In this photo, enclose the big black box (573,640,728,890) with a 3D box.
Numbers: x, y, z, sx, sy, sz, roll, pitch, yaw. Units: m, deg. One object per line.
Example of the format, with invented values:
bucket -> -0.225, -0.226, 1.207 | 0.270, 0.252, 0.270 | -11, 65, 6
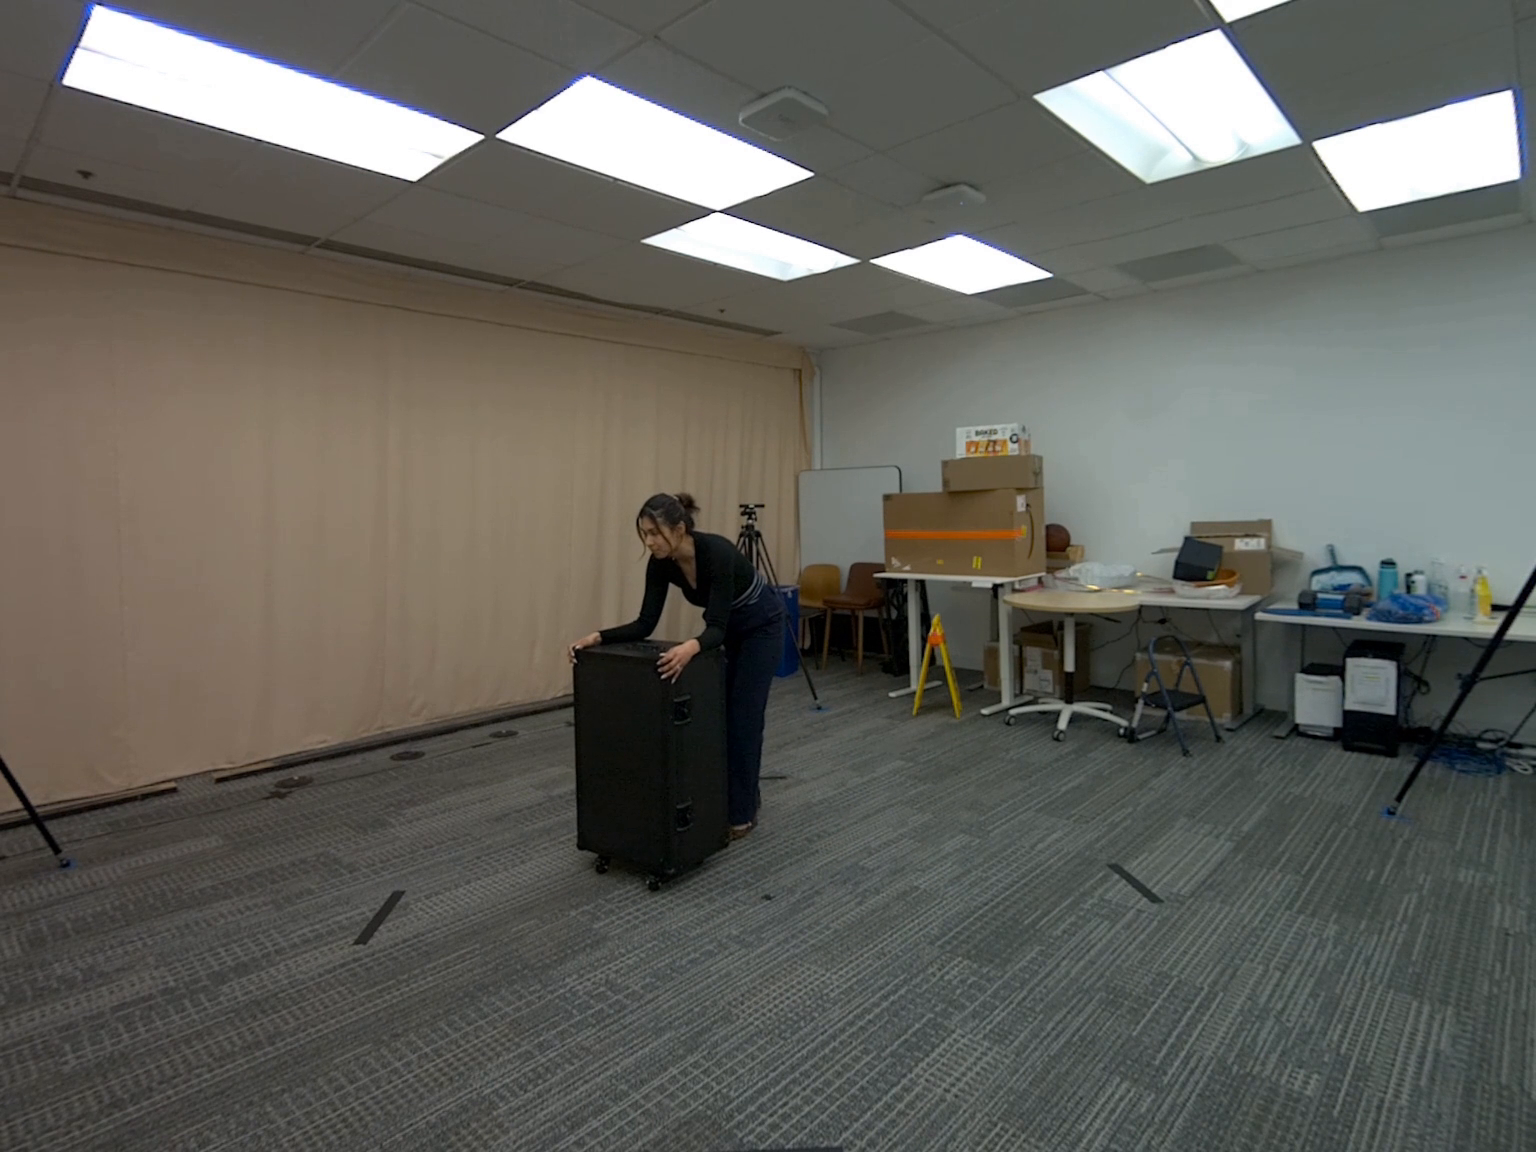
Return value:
big black box -> -0.455, 0.700, 3.269 | 0.537, 0.861, 0.384 | 0, 1, 36
